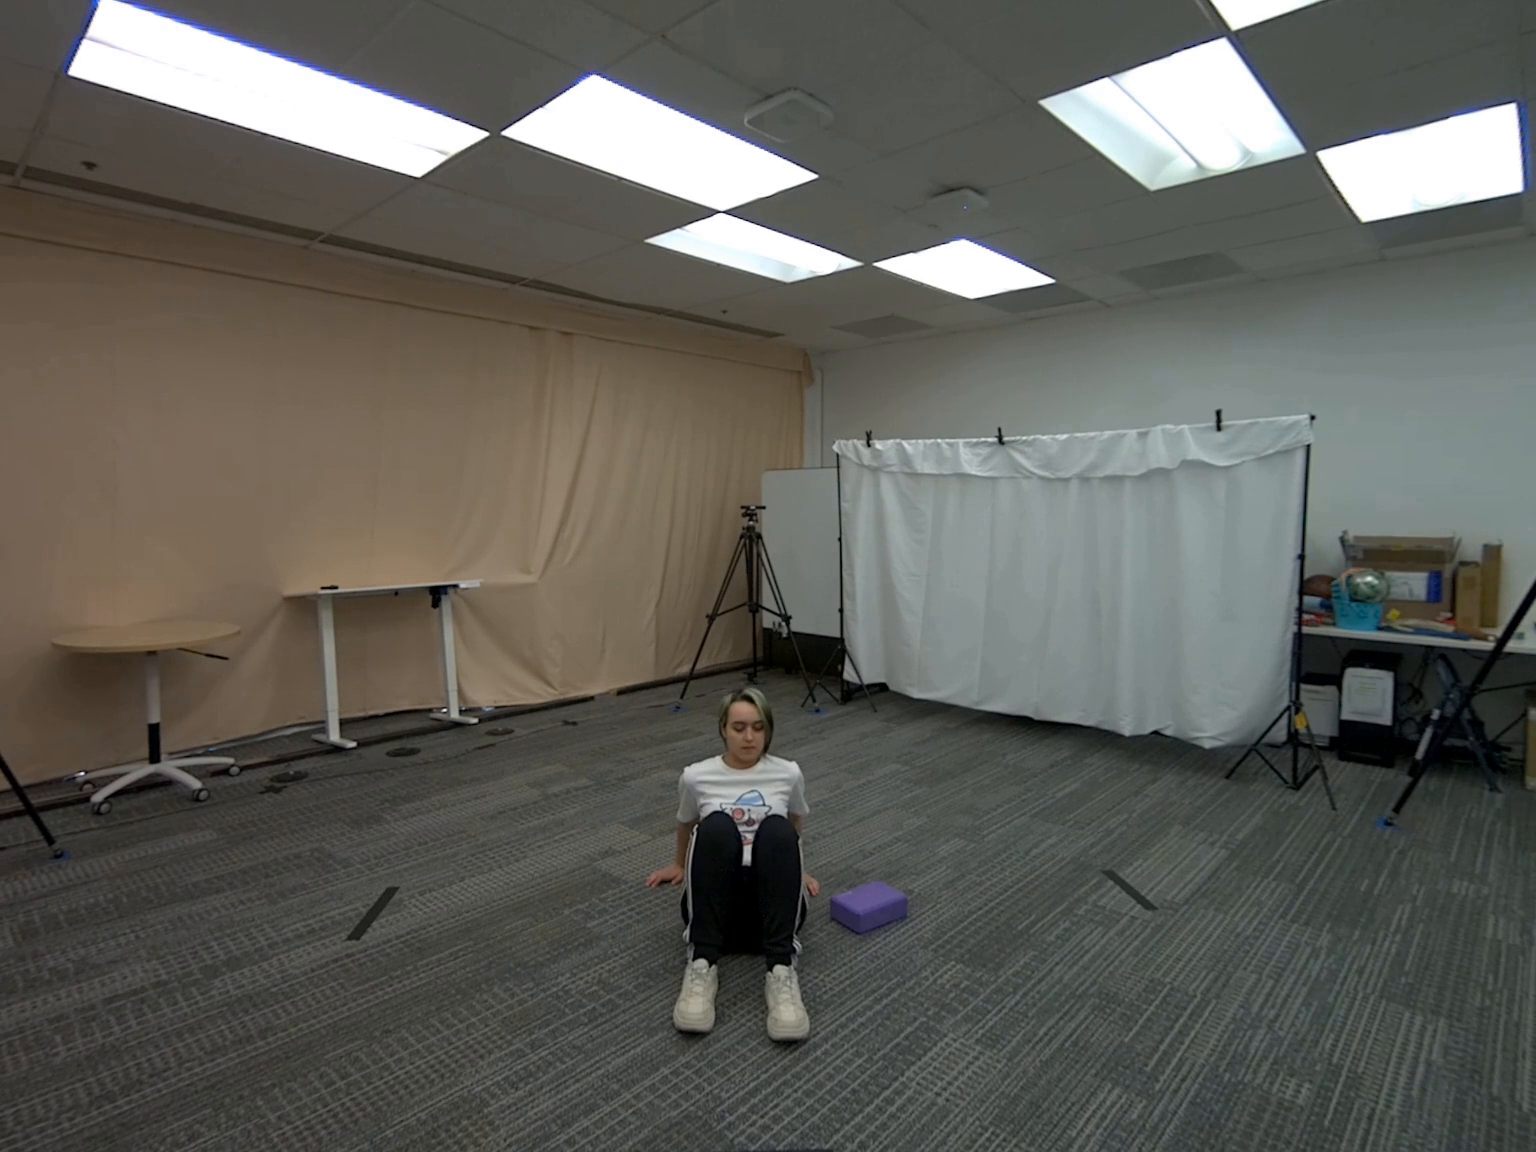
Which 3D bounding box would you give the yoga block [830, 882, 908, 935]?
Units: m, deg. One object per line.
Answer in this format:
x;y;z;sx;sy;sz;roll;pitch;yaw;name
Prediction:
0.347;1.116;2.833;0.223;0.076;0.154;-3;6;-35;yoga block
